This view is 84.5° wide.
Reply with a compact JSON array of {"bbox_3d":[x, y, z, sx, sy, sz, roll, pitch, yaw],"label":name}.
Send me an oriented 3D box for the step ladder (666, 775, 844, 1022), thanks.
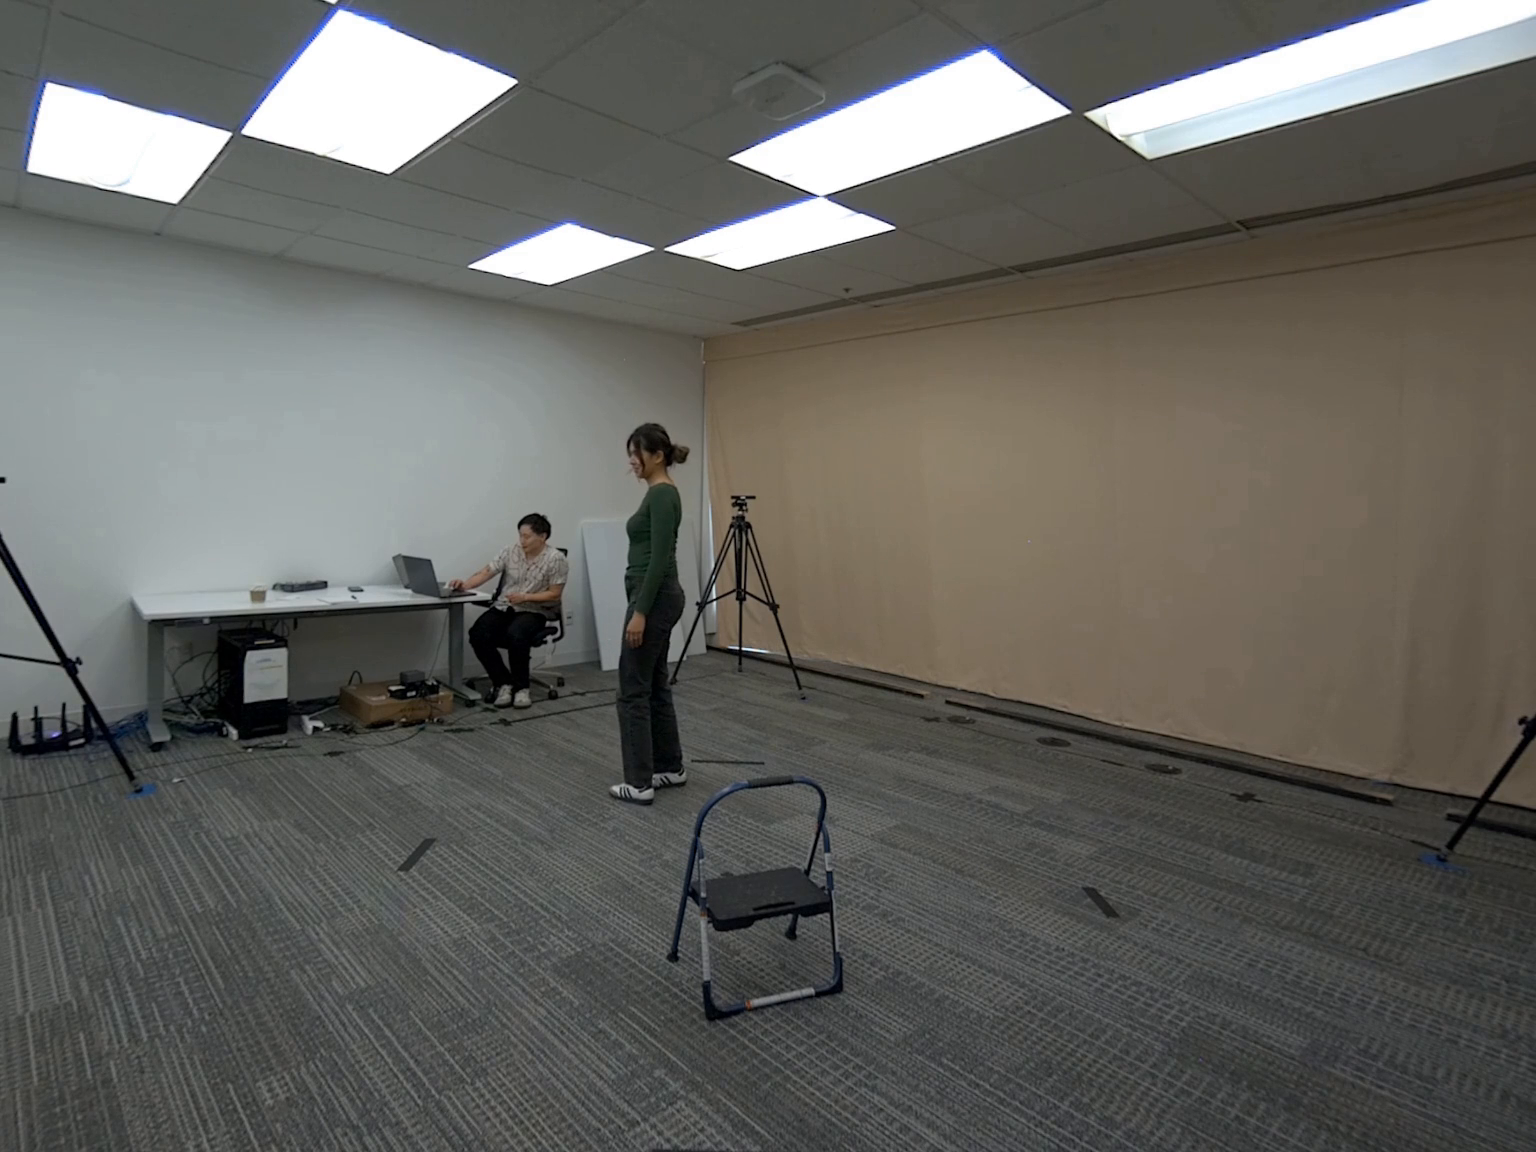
[{"bbox_3d":[-0.038,0.863,2.440,0.423,0.604,0.356,0,4,-24],"label":"step ladder"}]
